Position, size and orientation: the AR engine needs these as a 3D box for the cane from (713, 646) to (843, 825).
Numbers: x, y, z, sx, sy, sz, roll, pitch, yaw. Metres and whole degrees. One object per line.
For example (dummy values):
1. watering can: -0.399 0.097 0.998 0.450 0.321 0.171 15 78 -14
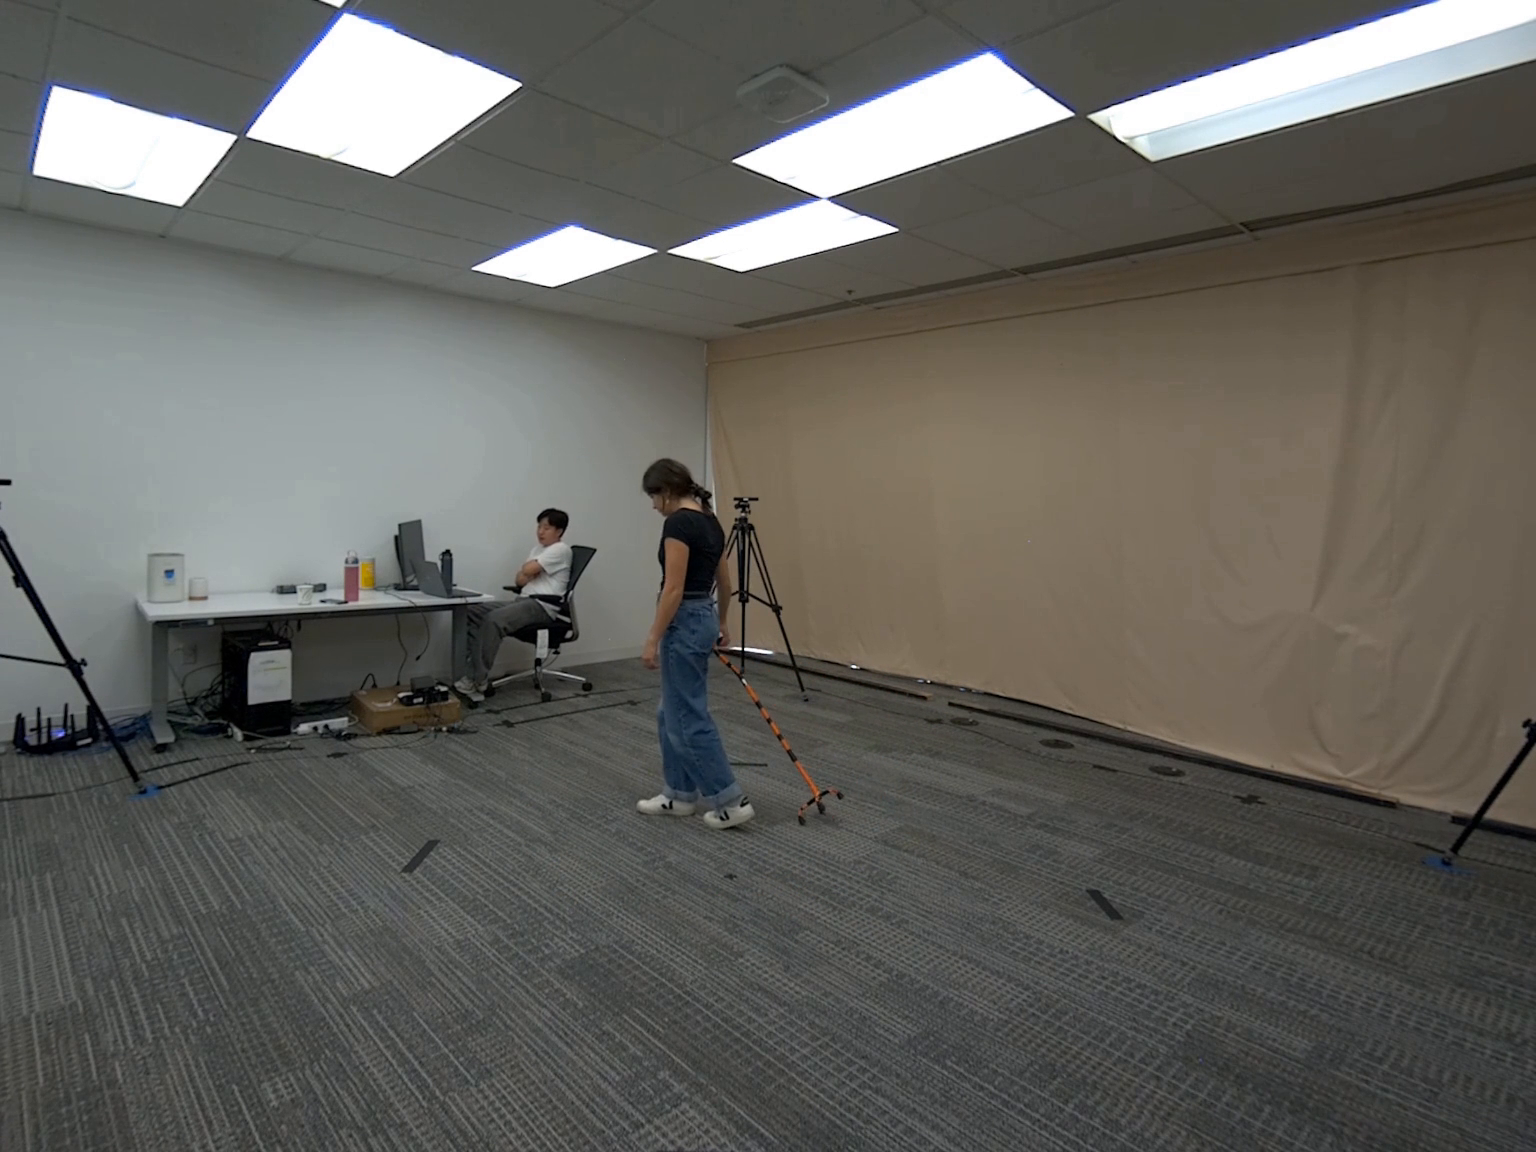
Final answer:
1. cane: -0.011 0.667 3.823 0.152 0.927 0.202 -45 -23 24
